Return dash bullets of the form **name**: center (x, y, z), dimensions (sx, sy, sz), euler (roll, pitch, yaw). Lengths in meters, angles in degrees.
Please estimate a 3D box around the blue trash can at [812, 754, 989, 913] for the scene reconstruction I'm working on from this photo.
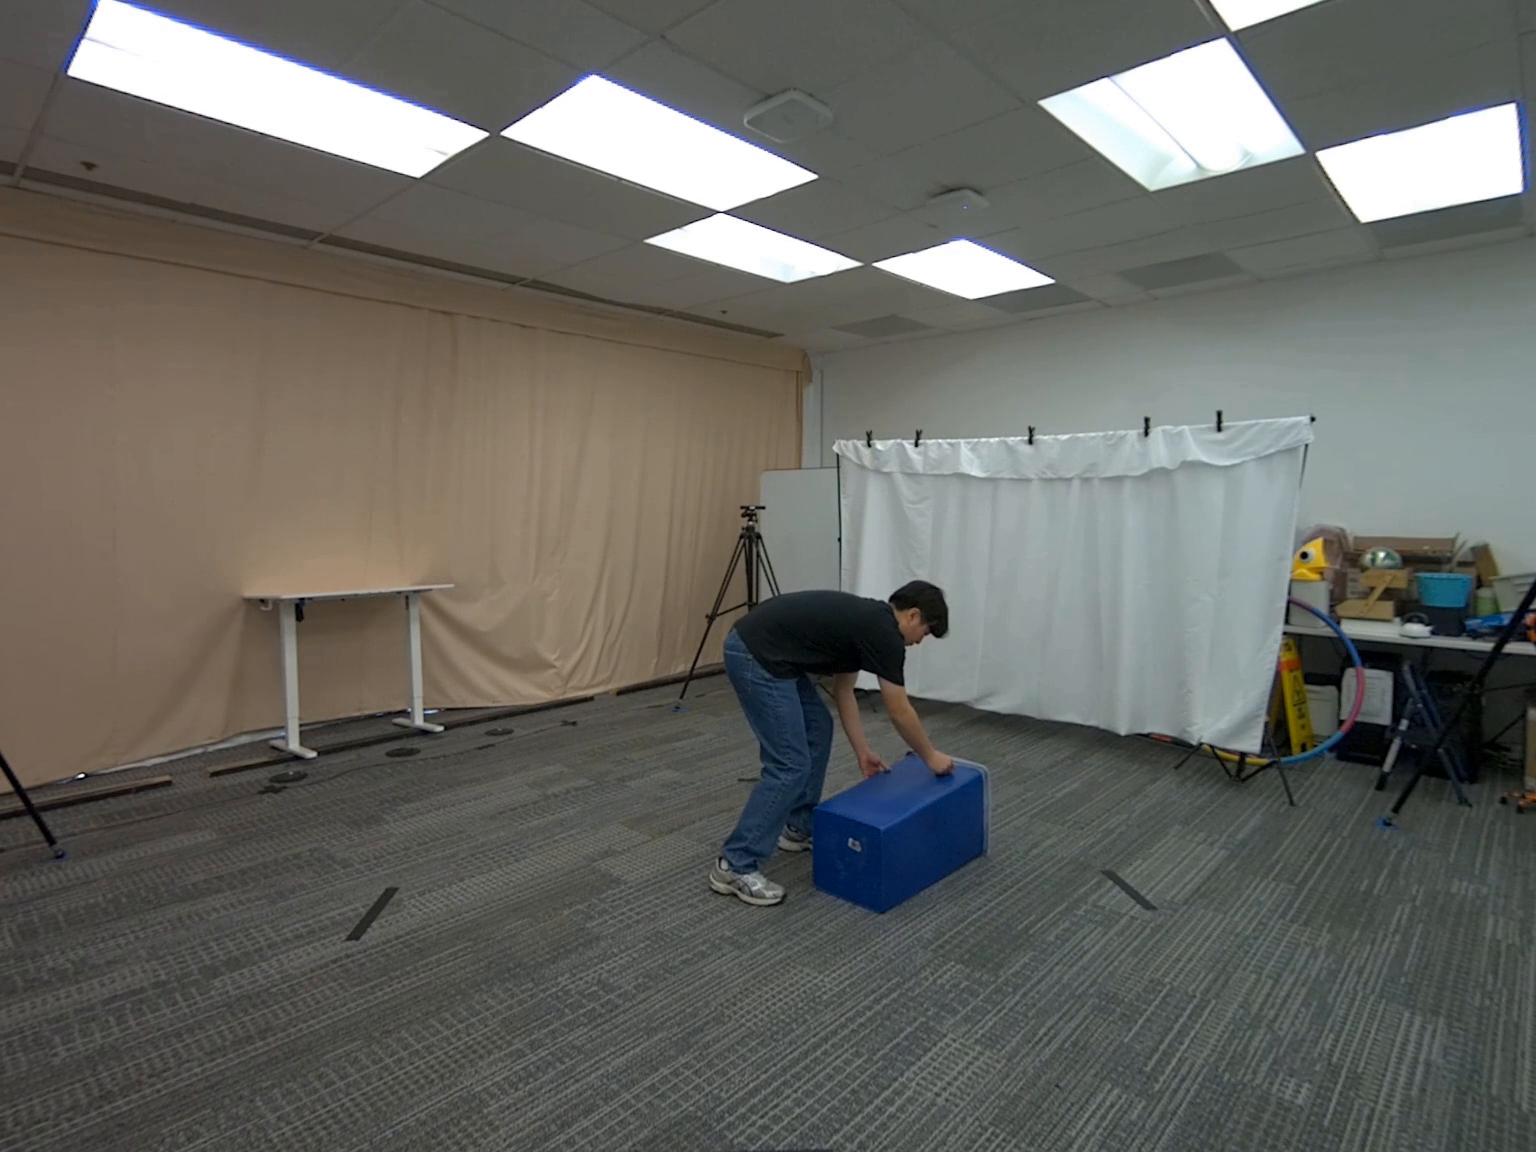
- **blue trash can**: center (0.519, 0.954, 3.197), dimensions (0.391, 0.372, 0.693), euler (5, 9, 41)
